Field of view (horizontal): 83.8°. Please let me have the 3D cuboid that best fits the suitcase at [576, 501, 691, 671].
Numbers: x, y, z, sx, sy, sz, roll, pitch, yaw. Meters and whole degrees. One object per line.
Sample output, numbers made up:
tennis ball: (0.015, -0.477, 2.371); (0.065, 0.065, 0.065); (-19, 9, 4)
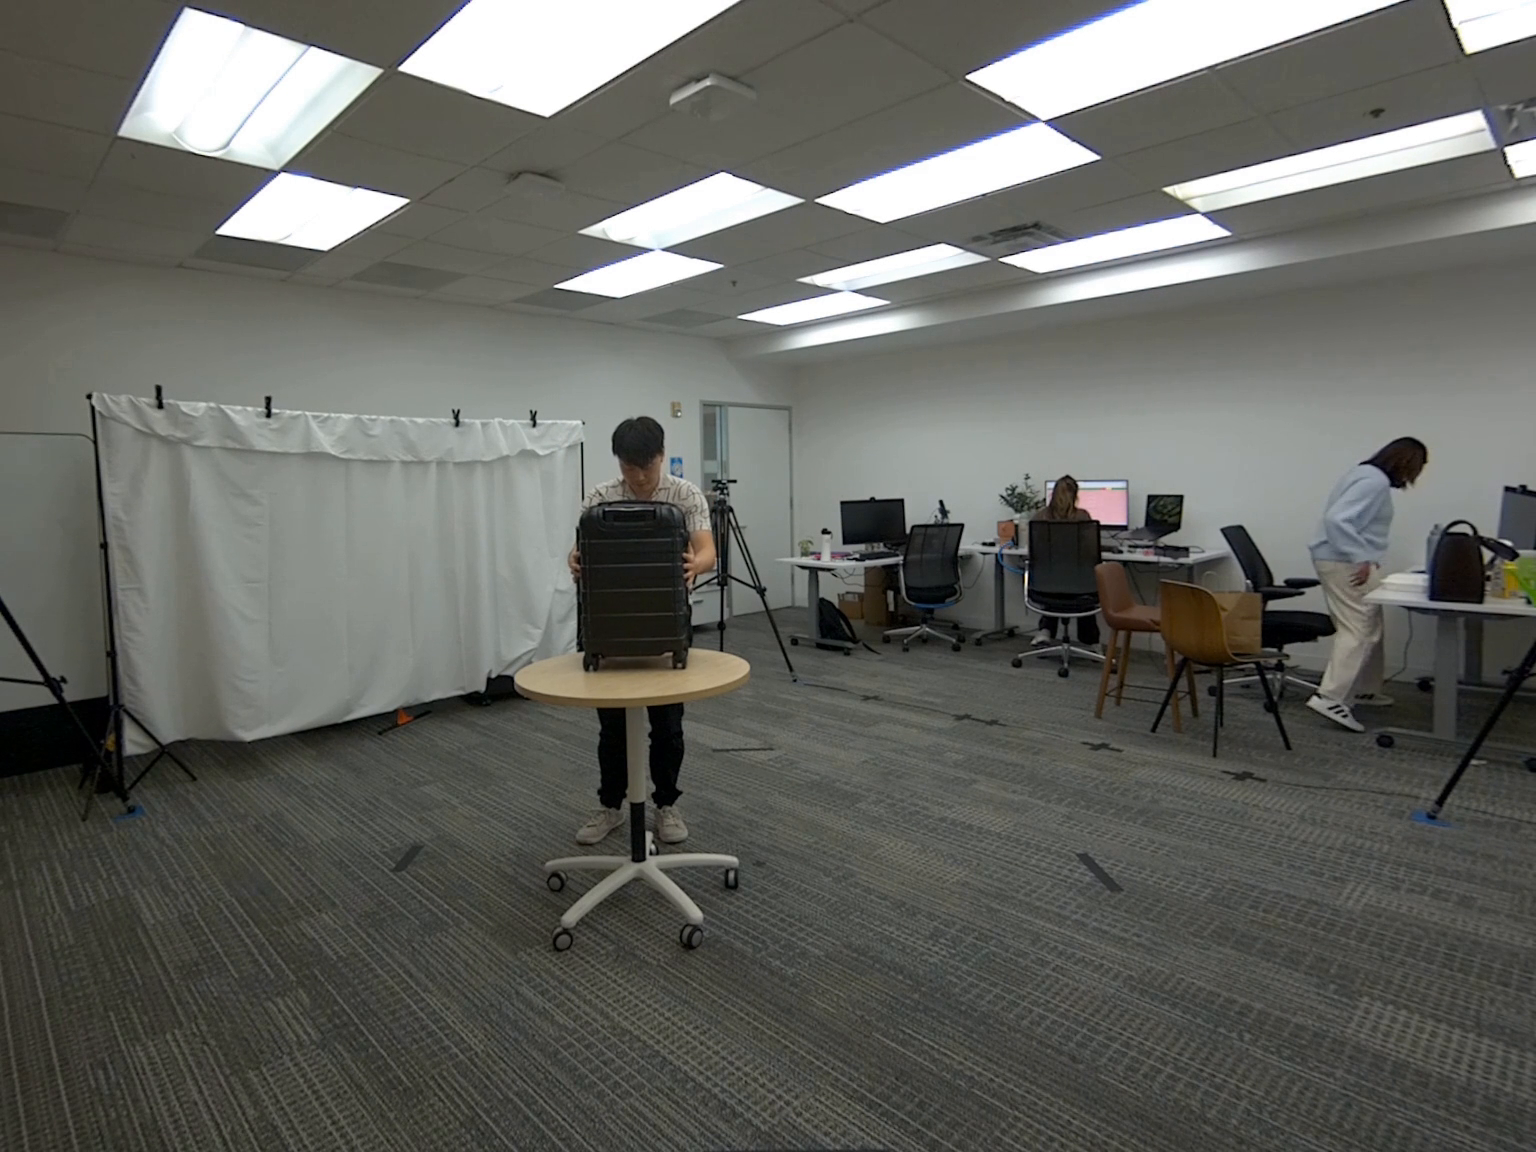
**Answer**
suitcase: (-0.460, 0.022, 2.880); (0.376, 0.547, 0.249); (-2, 5, 1)
